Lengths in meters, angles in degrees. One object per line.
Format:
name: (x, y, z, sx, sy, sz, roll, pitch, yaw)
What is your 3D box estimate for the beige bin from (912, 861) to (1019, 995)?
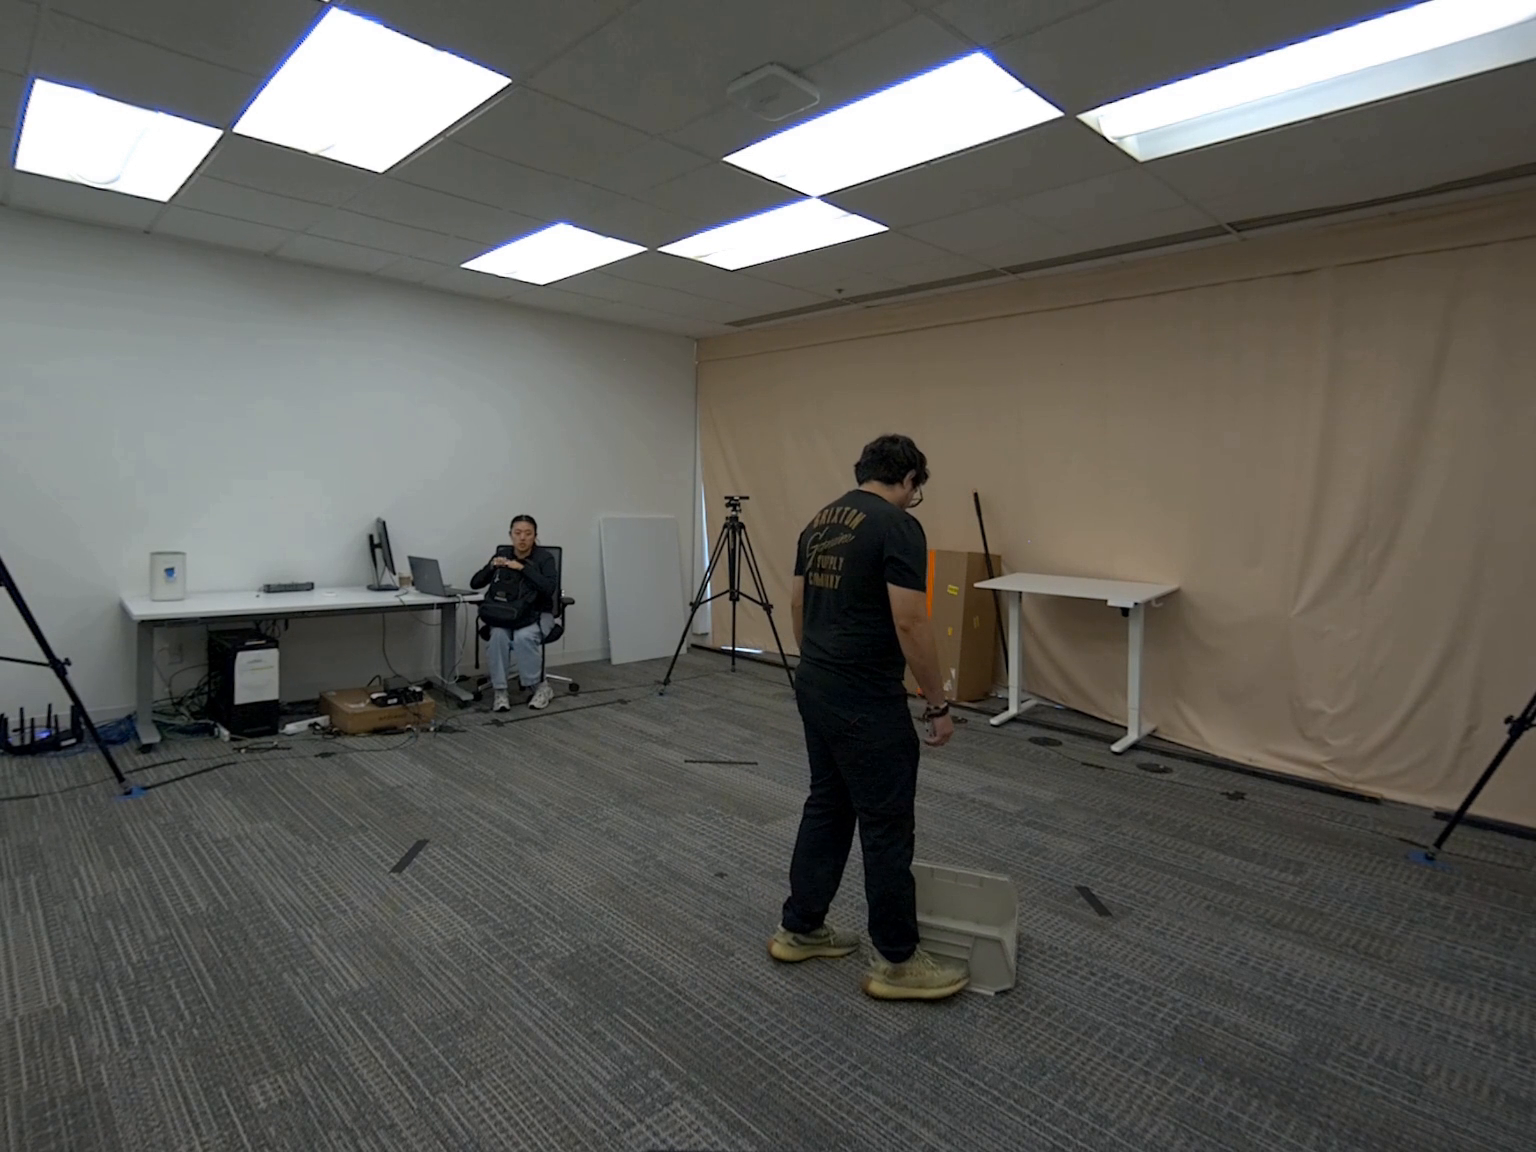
beige bin: (0.565, 1.073, 2.609, 0.383, 0.188, 0.416, 2, 5, 21)
